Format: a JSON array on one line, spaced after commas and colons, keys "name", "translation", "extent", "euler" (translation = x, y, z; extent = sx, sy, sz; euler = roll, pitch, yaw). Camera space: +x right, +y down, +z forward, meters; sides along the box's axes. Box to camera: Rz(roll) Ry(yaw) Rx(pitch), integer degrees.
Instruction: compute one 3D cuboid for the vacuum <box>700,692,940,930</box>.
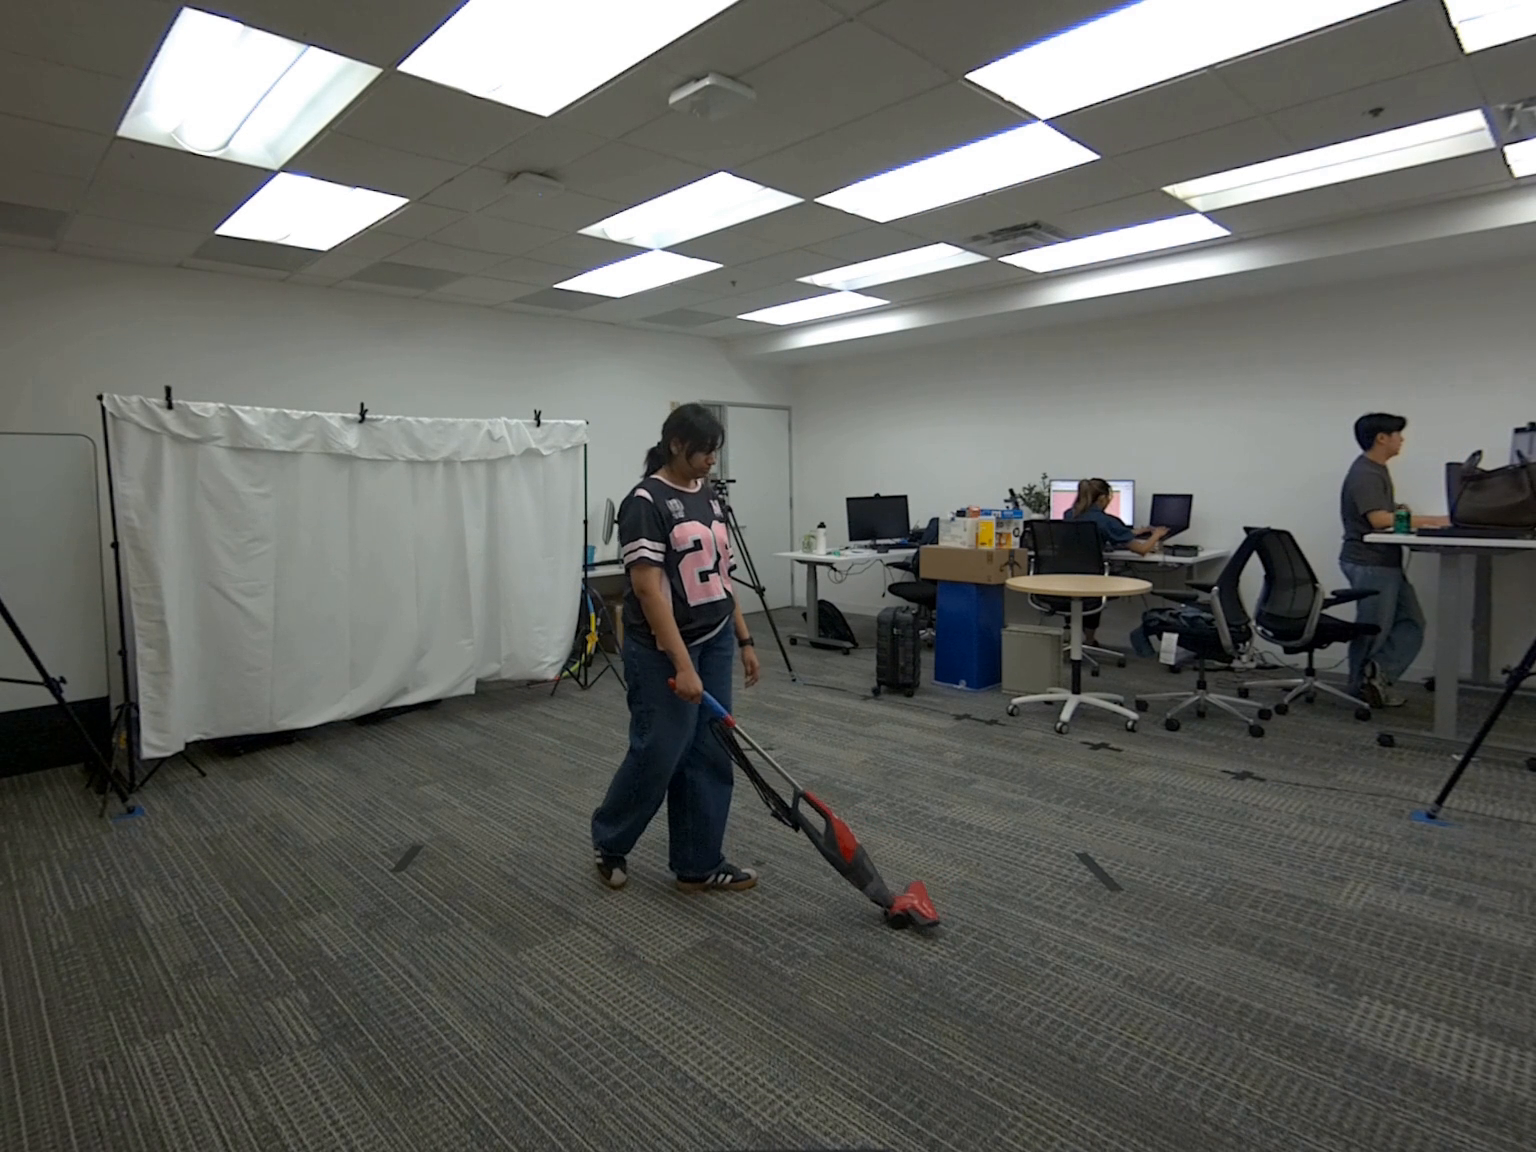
[{"name": "vacuum", "translation": [0.075, 0.698, 2.688], "extent": [1.048, 0.144, 0.253], "euler": [43, 1, -1]}]
